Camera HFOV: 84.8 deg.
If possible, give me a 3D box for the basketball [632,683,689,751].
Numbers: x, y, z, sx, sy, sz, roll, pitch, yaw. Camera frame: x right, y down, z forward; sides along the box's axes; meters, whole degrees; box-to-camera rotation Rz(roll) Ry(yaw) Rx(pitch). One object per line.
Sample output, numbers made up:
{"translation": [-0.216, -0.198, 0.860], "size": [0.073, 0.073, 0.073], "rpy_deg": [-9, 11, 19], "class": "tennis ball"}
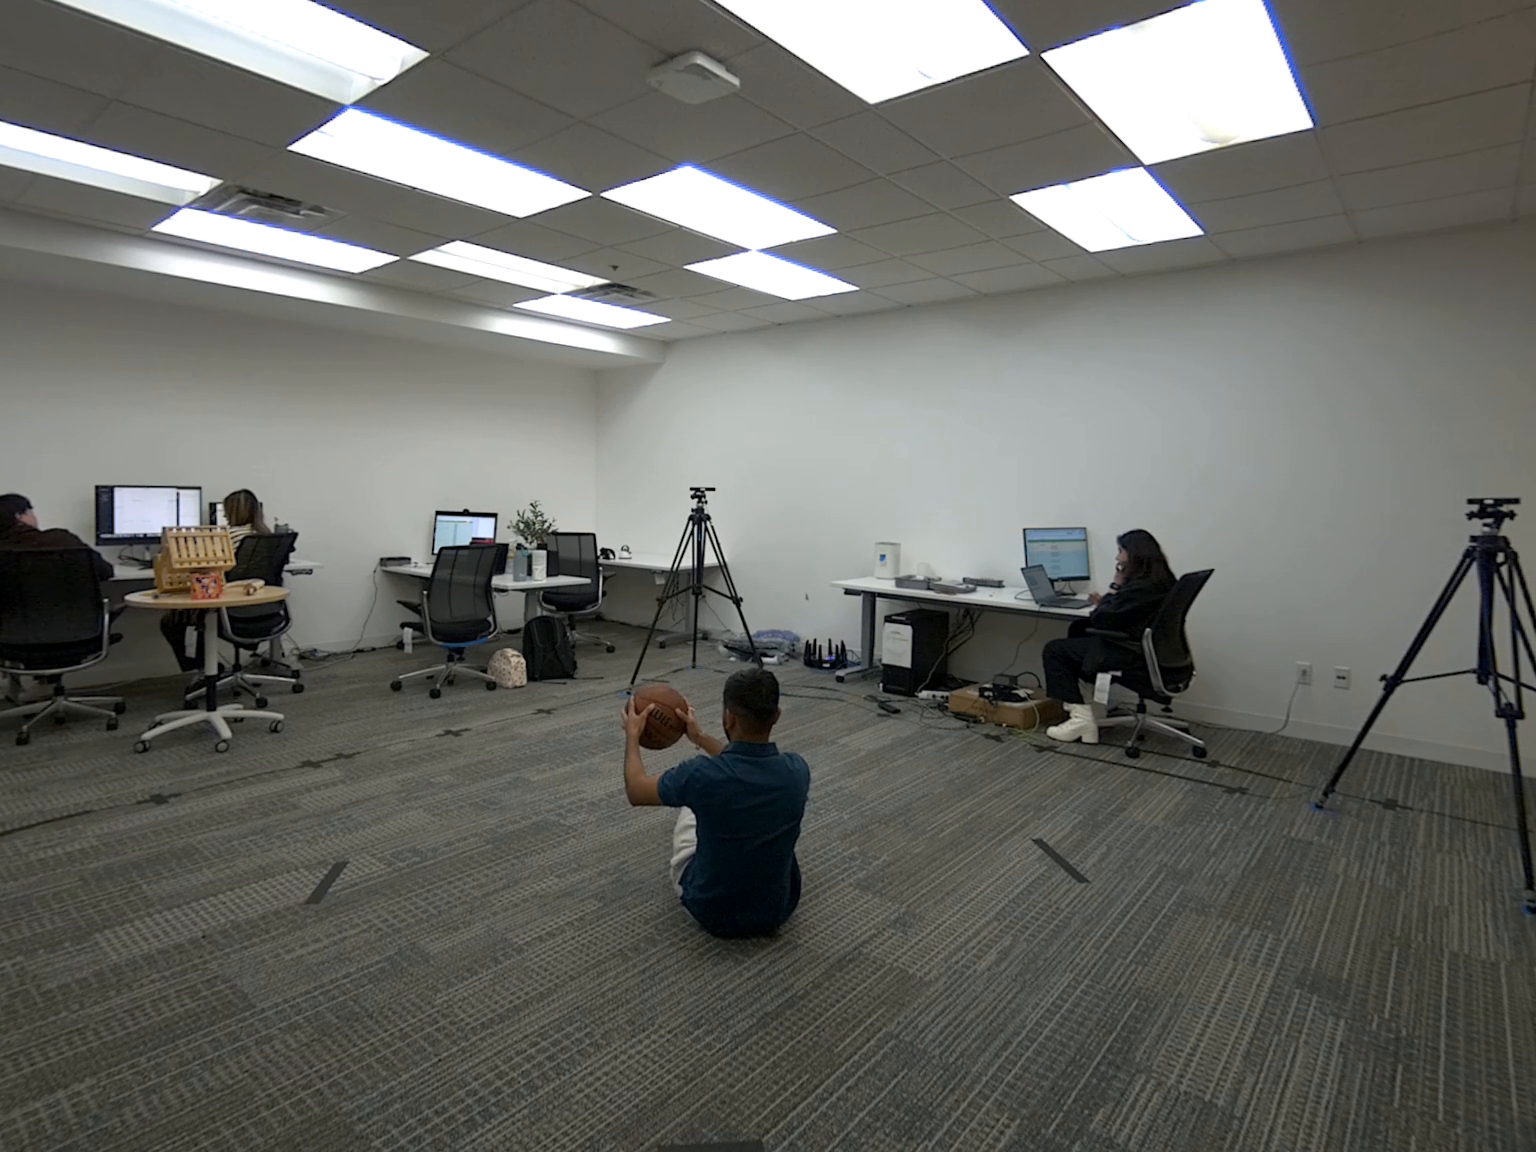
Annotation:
{"translation": [-0.402, 0.514, 3.141], "size": [0.235, 0.235, 0.237], "rpy_deg": [1, 4, -2], "class": "basketball"}
